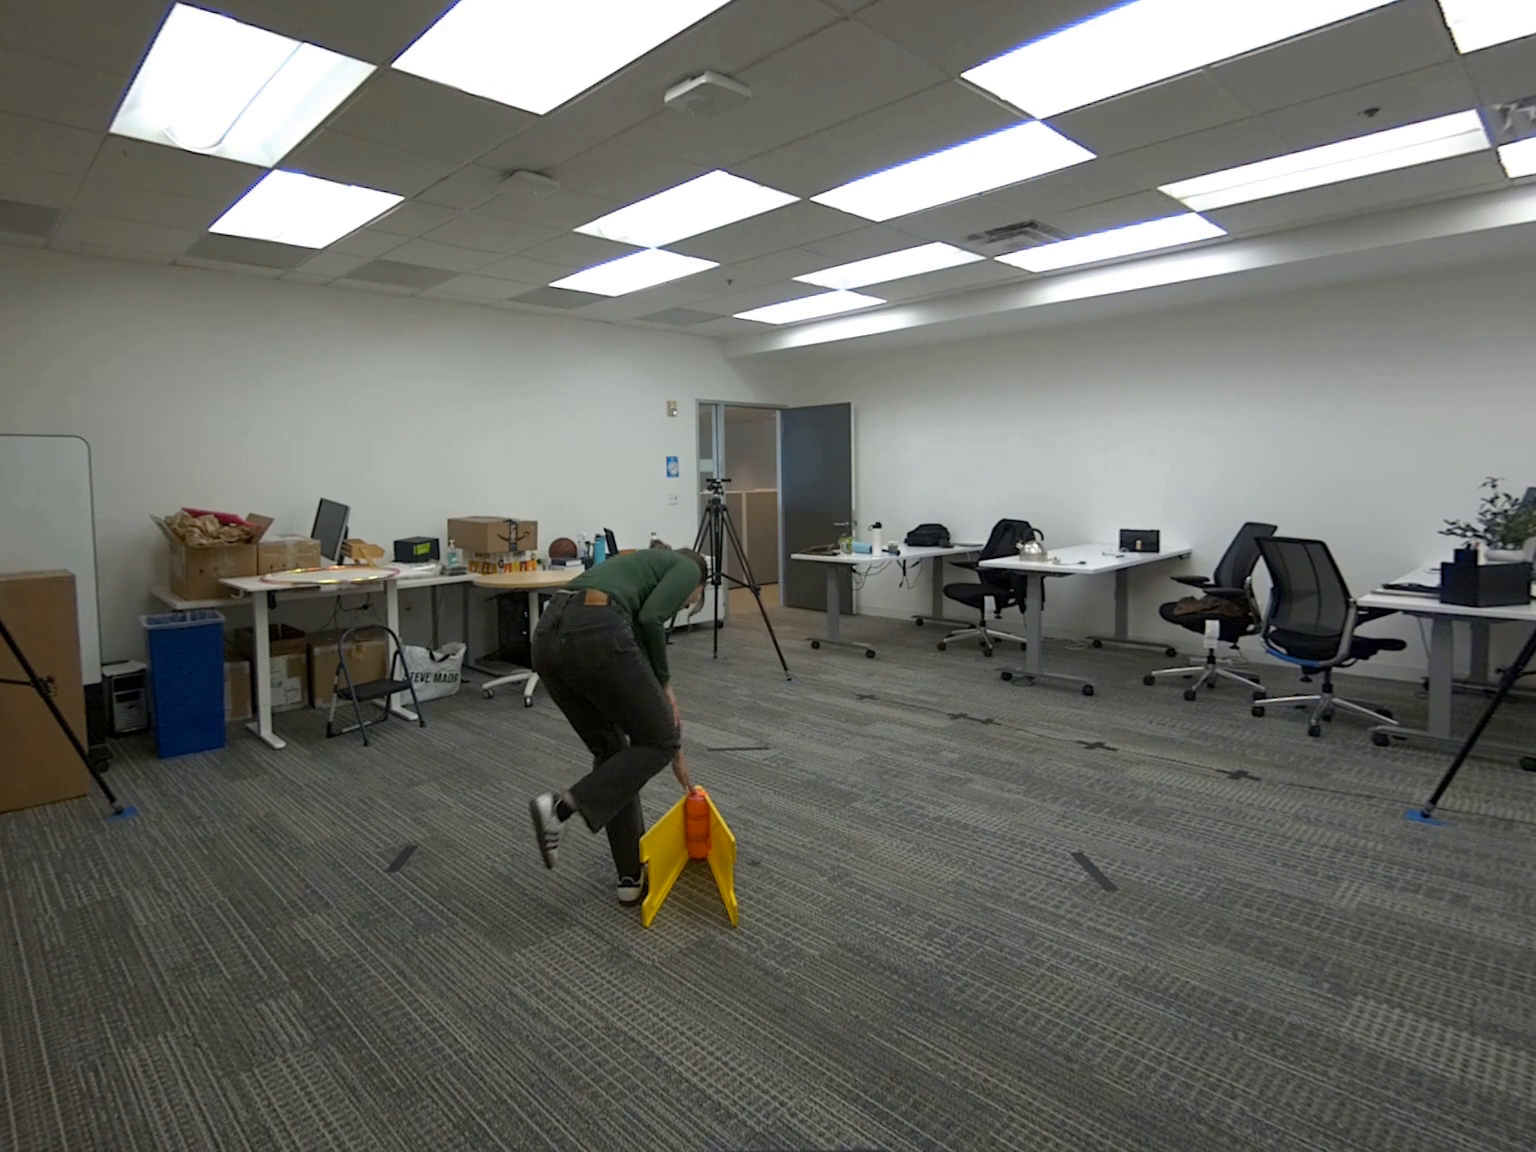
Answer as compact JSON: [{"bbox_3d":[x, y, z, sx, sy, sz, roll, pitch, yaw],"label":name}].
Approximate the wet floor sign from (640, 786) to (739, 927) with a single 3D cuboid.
[{"bbox_3d":[-0.256,0.927,2.990,0.290,0.281,0.648,-1,4,-2],"label":"wet floor sign"}]
